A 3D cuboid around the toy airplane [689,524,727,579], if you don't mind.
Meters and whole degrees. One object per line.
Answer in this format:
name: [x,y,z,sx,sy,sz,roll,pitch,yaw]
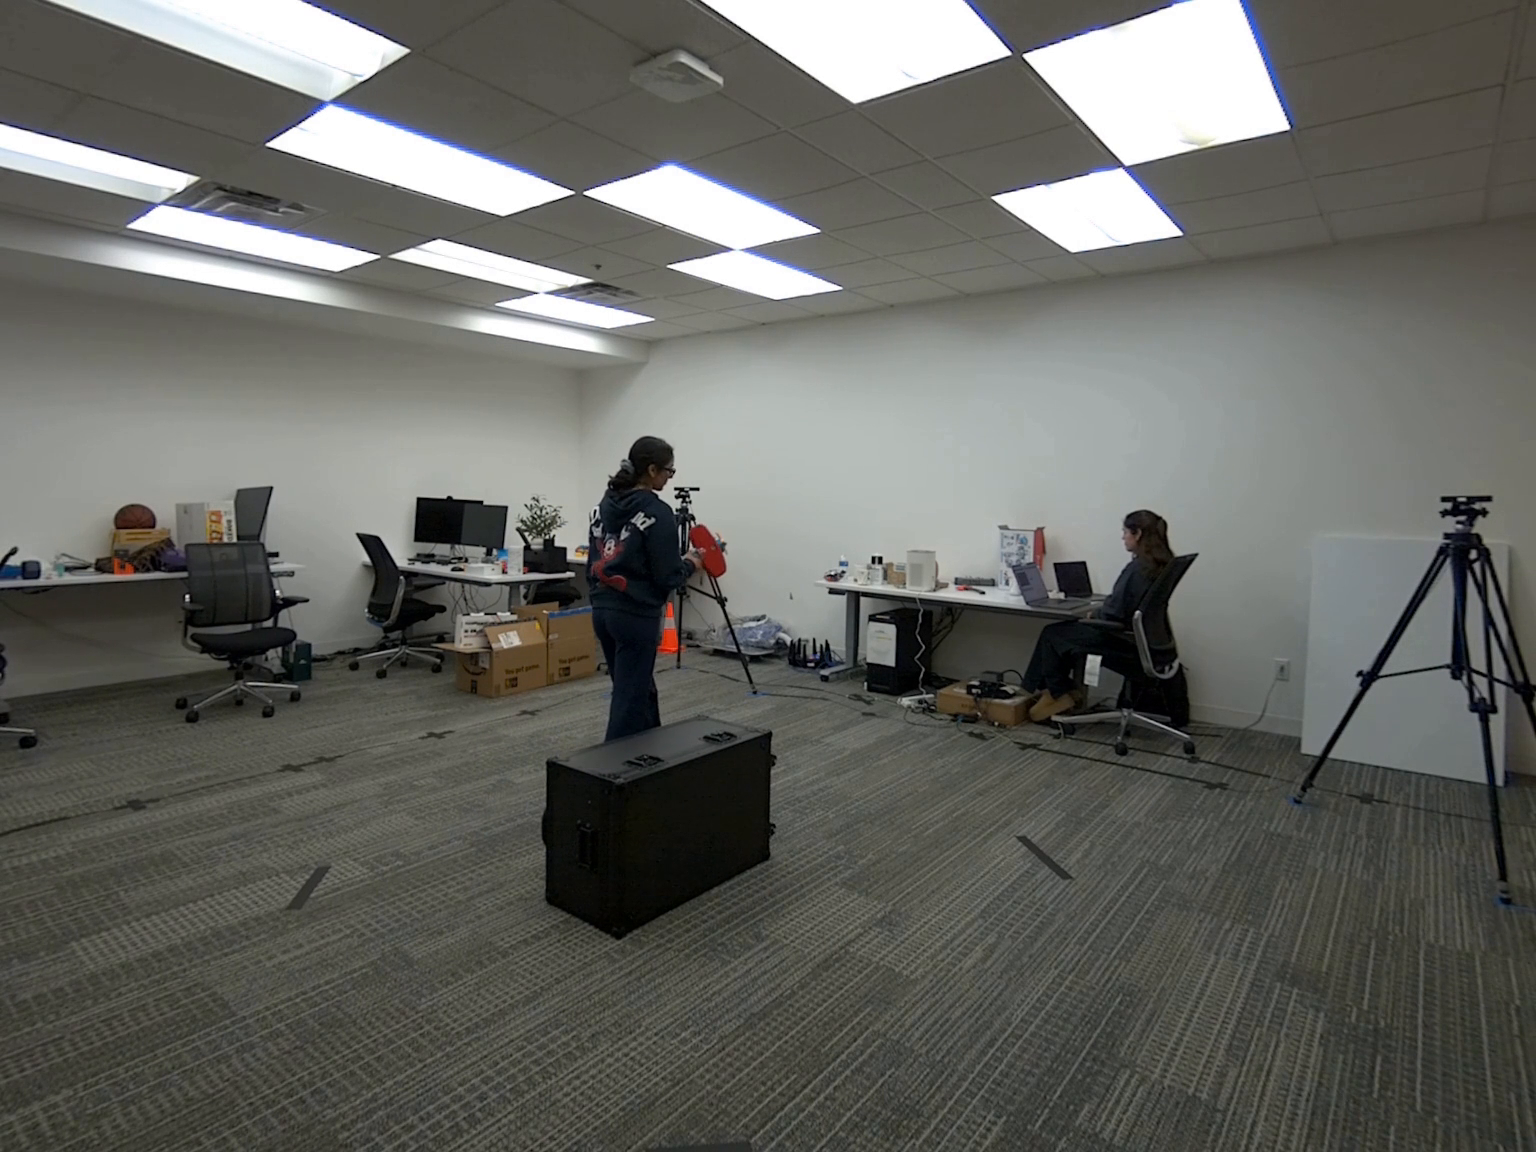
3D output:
toy airplane: [-0.322,-0.083,3.944,0.250,0.260,0.157,35,-22,-5]
